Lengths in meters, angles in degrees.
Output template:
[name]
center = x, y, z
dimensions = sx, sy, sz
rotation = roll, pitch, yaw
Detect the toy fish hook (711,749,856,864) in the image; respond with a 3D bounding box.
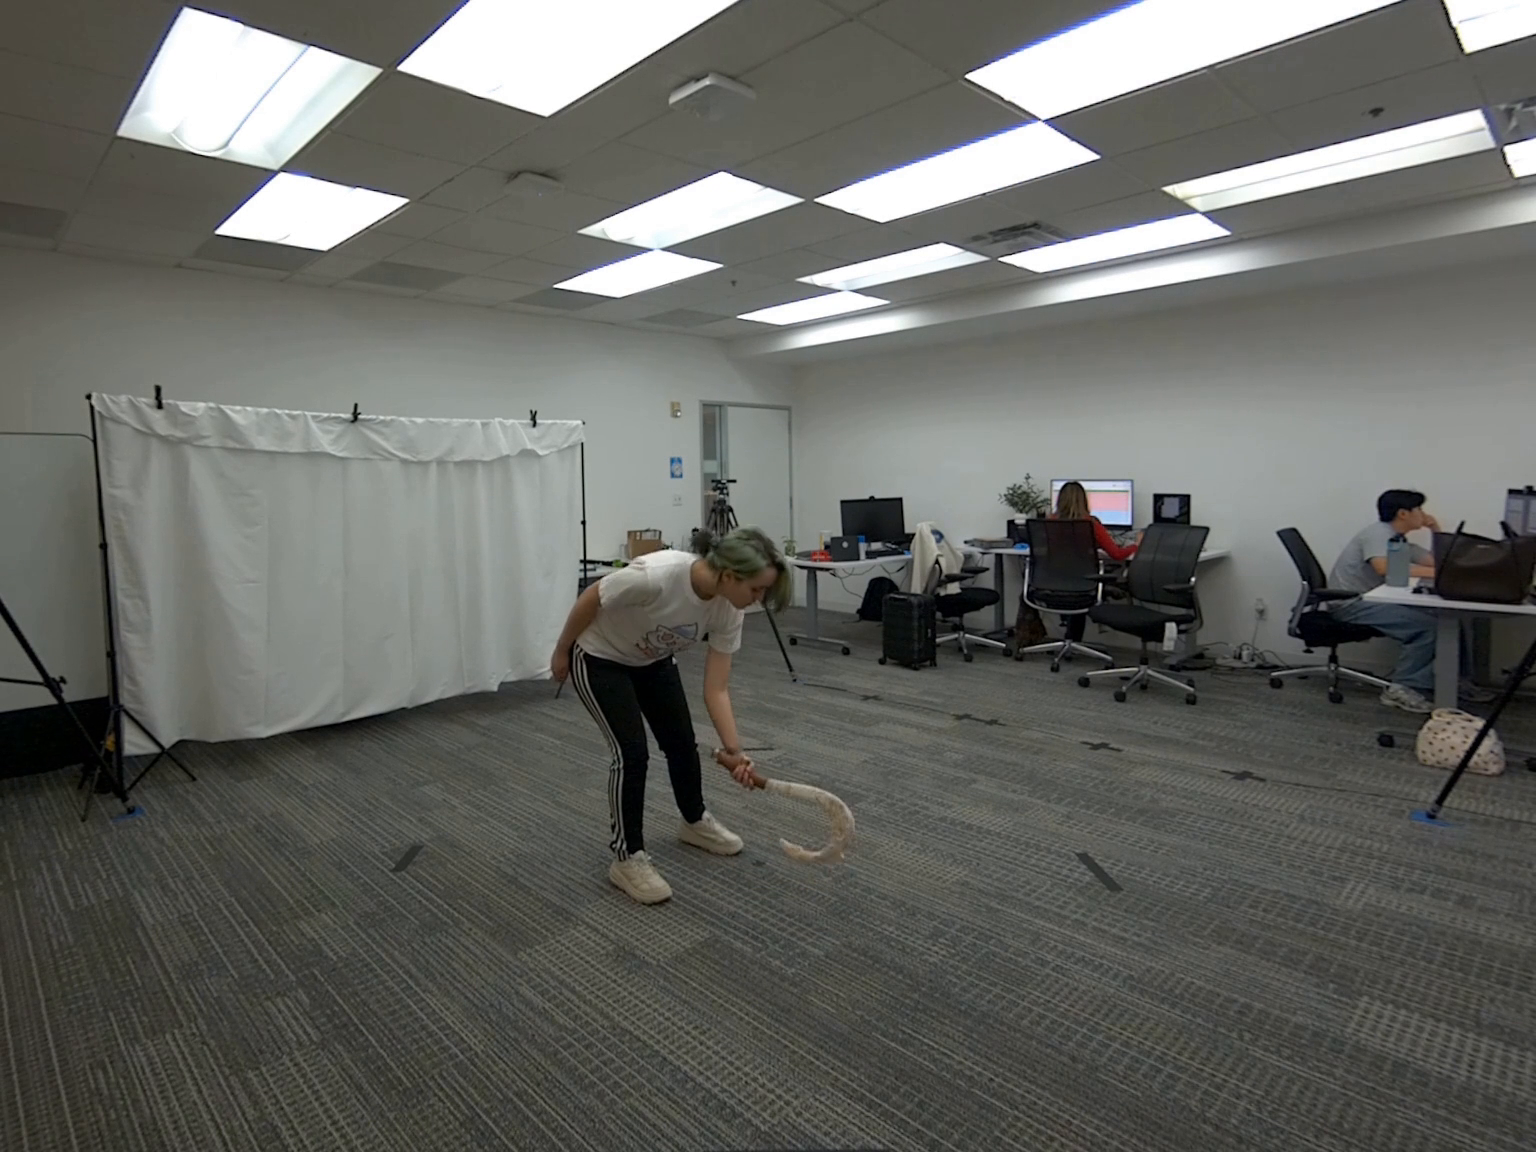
[toy fish hook]
center = 0.034, 0.721, 2.673
dimensions = 0.516, 0.226, 0.047
rotation = 25, -27, 14
